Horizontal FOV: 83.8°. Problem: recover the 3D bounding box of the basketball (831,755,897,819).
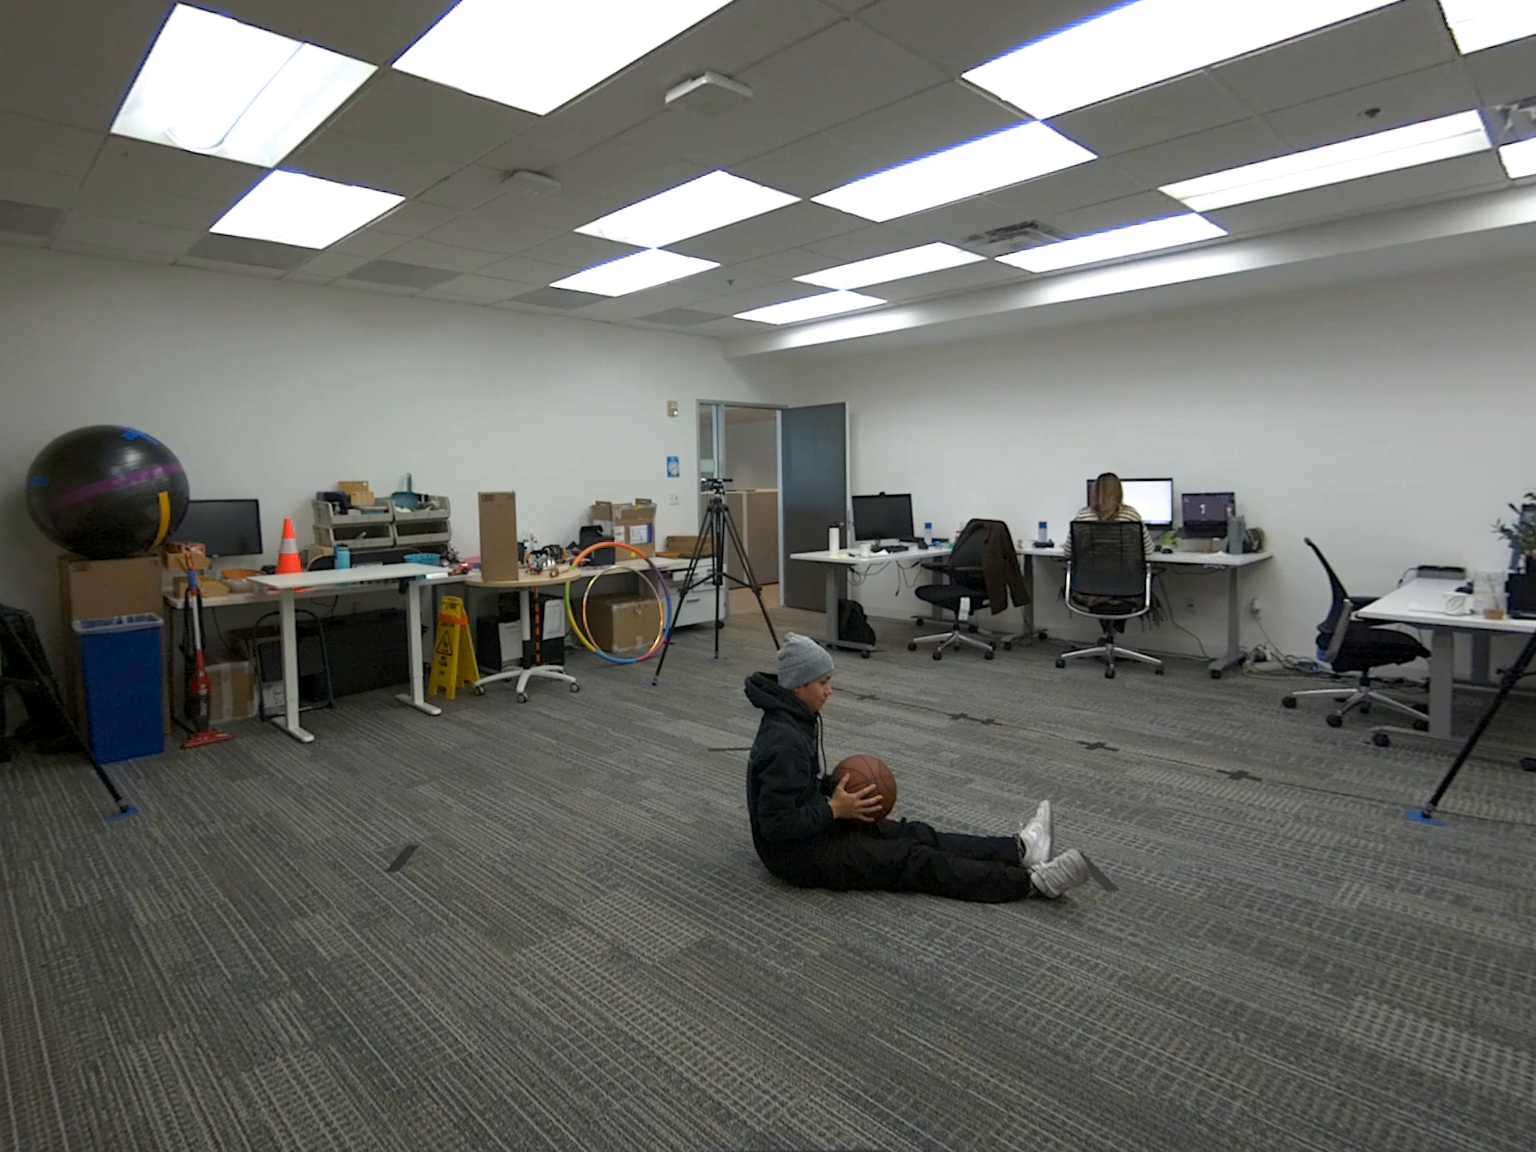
[{"bbox_3d":[0.329,0.748,3.018,0.236,0.235,0.237,-1,5,-2],"label":"basketball"}]
